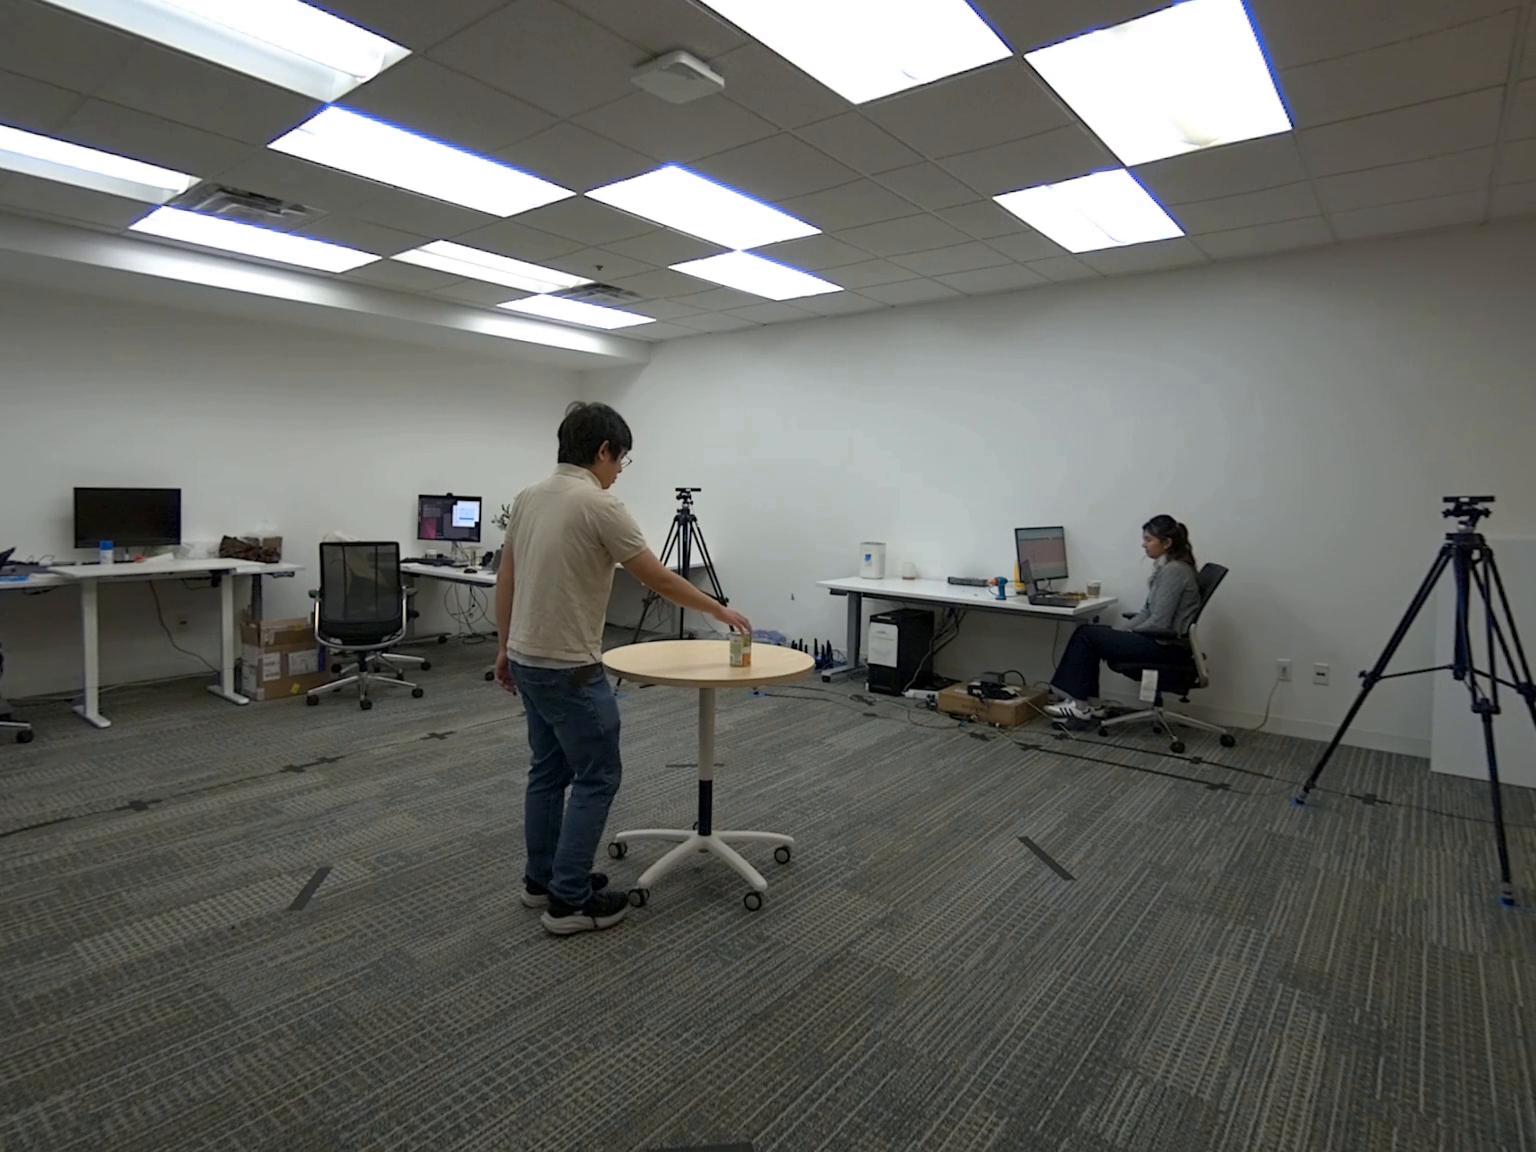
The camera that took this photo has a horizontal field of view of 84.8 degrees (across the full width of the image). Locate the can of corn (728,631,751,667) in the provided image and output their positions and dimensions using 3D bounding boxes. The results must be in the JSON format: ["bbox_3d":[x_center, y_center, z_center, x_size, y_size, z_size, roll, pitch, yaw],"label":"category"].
[{"bbox_3d":[-0.108,0.252,2.914,0.074,0.110,0.074,-1,5,-2],"label":"can of corn"}]
